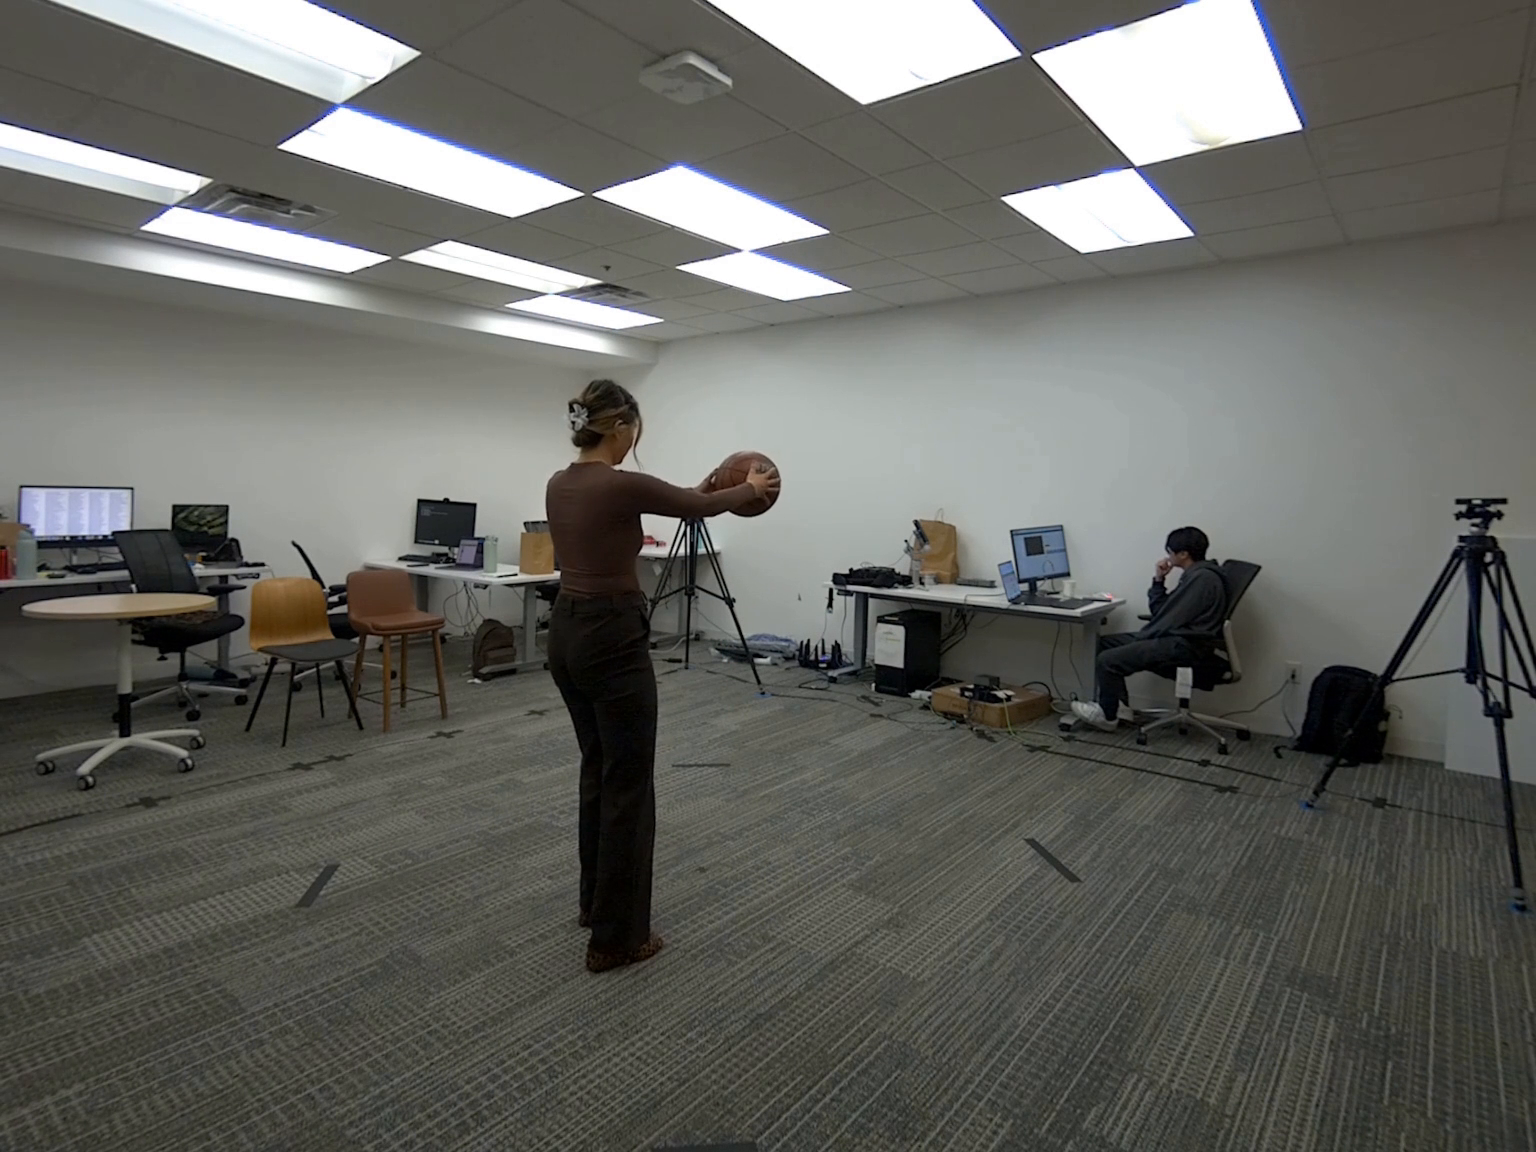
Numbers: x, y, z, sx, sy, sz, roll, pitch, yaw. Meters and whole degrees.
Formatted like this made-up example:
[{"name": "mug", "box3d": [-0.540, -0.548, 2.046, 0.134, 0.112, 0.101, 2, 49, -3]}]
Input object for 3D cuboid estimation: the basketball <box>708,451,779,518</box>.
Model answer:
[{"name": "basketball", "box3d": [-0.086, -0.329, 3.049, 0.235, 0.235, 0.237, 1, 4, -2]}]
